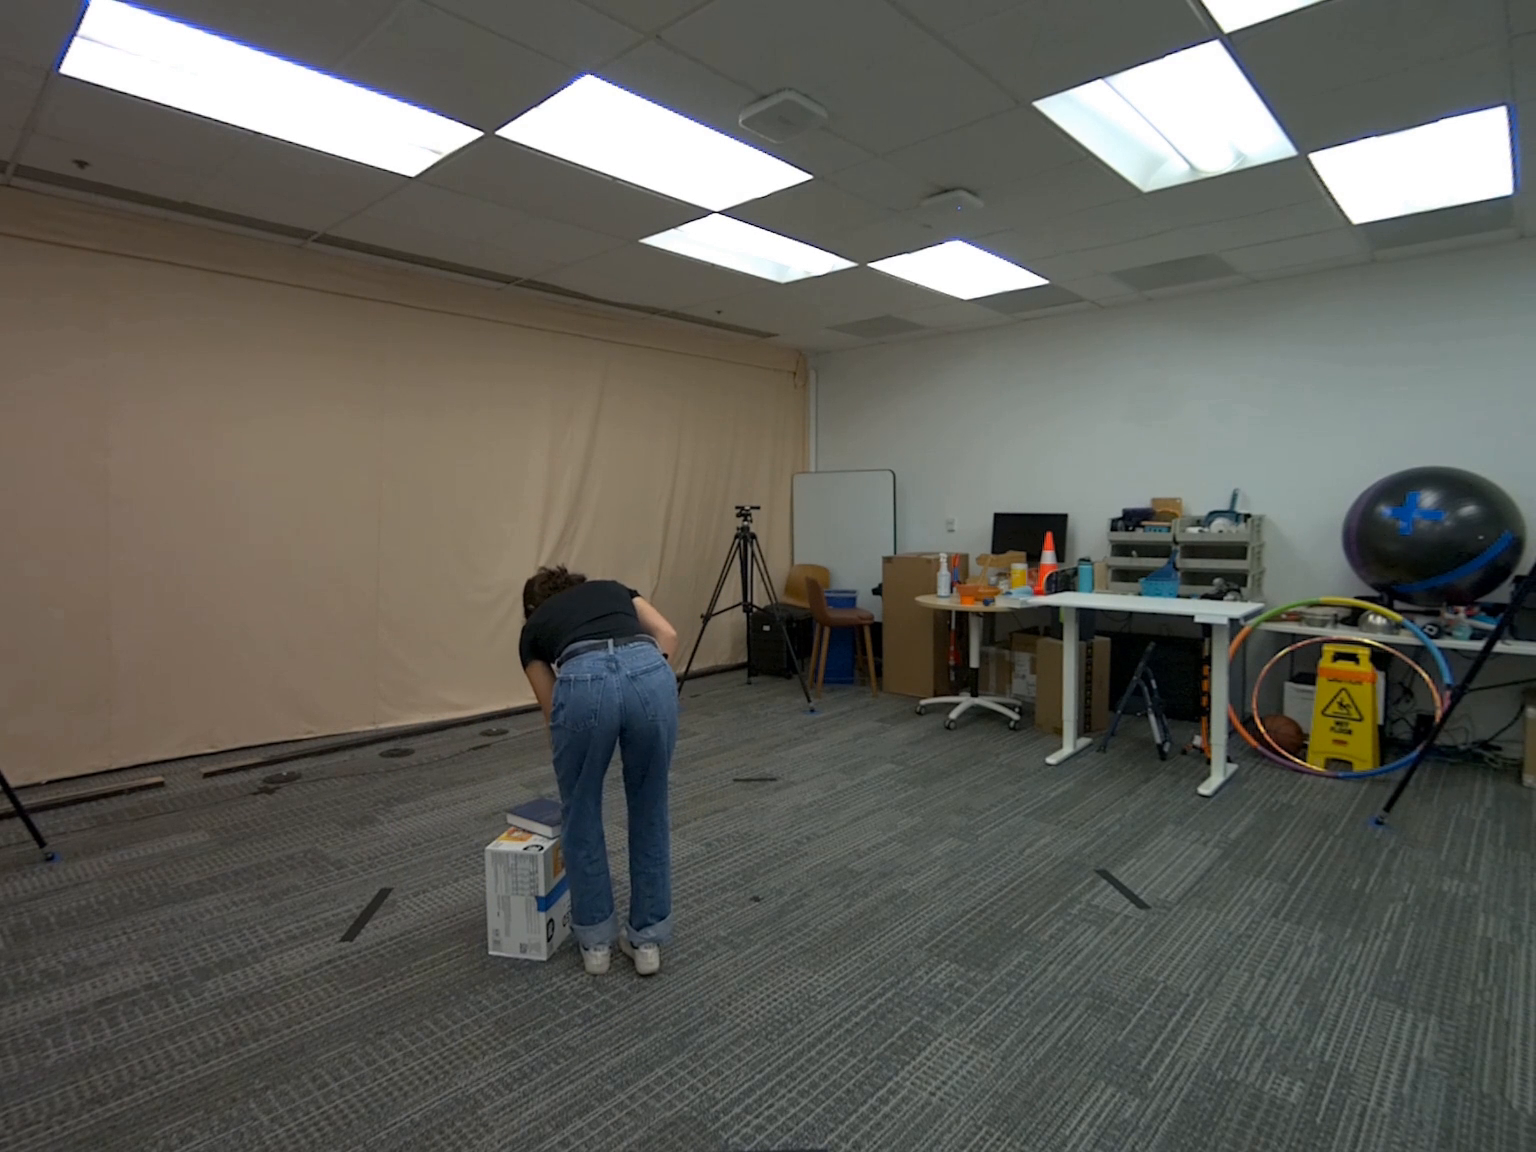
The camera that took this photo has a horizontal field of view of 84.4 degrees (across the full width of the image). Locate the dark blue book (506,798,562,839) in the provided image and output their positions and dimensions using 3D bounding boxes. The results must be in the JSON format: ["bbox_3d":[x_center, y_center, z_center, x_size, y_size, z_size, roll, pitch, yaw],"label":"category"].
[{"bbox_3d":[-0.739,0.806,2.803,0.253,0.045,0.158,2,6,39],"label":"dark blue book"}]
